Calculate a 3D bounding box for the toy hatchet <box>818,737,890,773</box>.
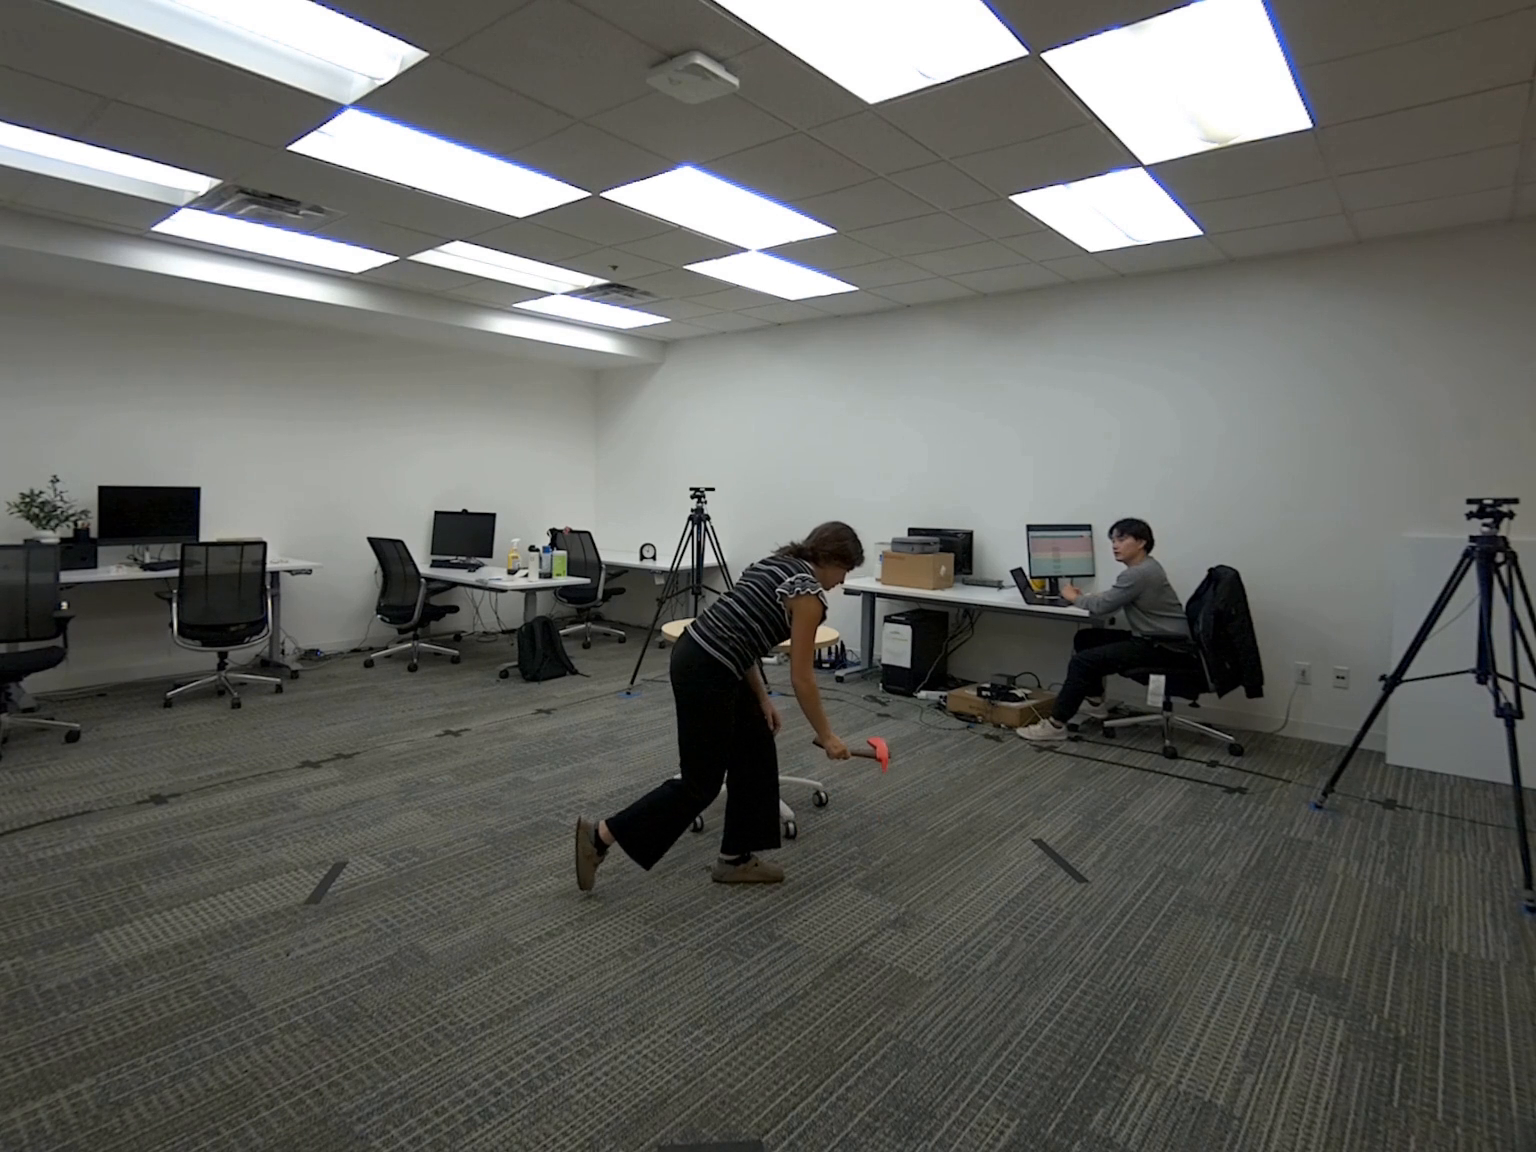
[{"bbox_3d":[0.295,0.588,2.993,0.275,0.132,0.029,20,-38,12],"label":"toy hatchet"}]
